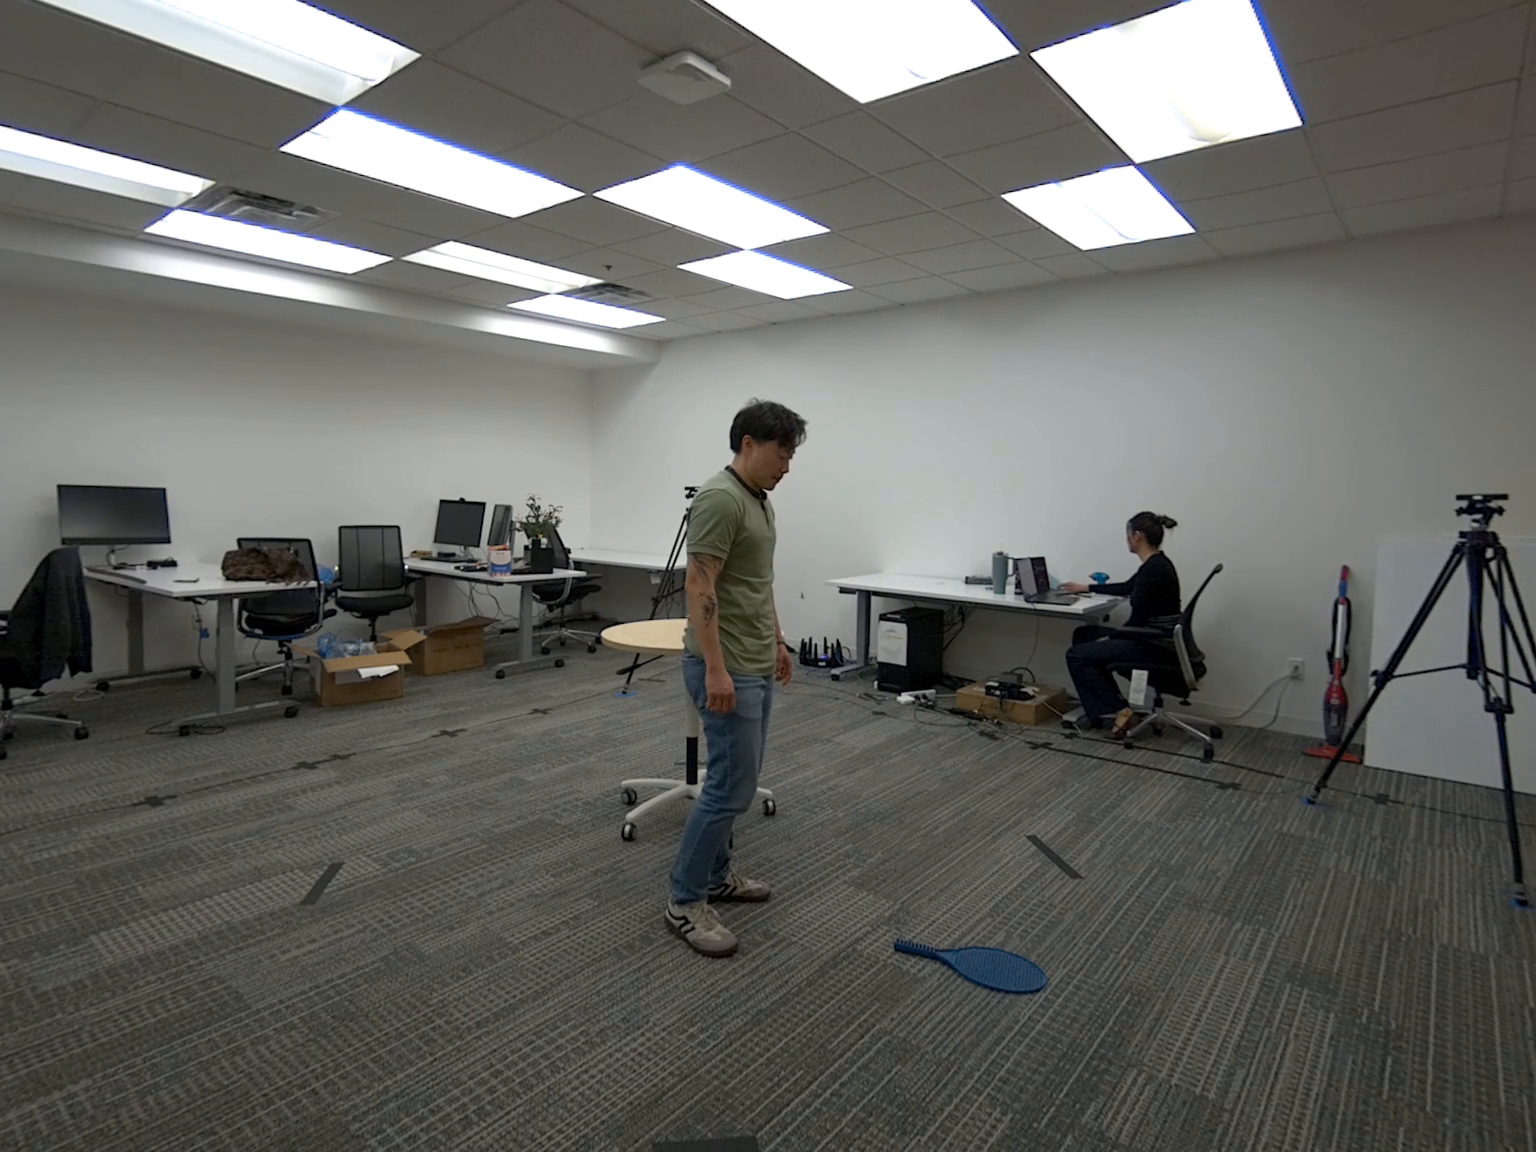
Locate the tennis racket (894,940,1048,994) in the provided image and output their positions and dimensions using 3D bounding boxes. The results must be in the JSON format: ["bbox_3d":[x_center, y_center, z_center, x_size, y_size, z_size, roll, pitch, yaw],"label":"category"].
[{"bbox_3d":[0.582,1.123,2.510,0.444,0.031,0.209,5,7,23],"label":"tennis racket"}]
